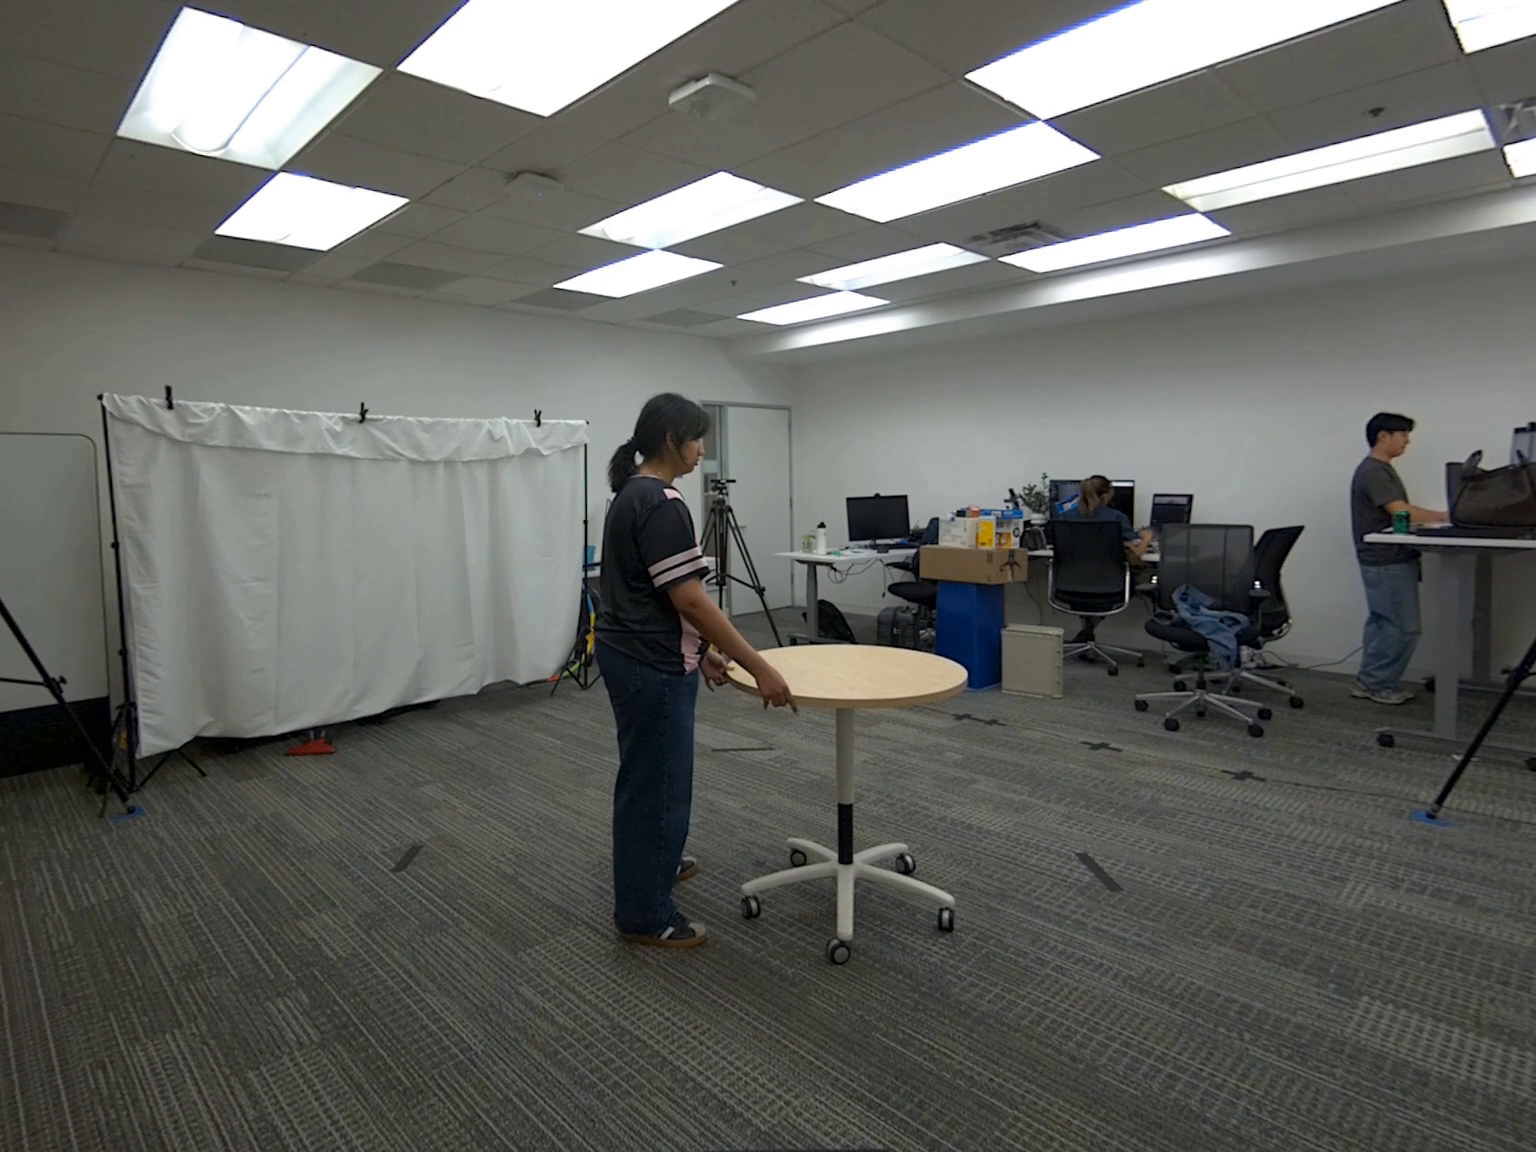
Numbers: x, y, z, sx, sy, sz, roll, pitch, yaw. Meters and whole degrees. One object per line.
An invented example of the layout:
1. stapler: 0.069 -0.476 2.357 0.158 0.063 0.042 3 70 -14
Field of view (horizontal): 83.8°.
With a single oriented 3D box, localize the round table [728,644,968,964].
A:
1. round table: 0.254 0.688 2.787 0.763 0.791 0.768 -1 5 -2
